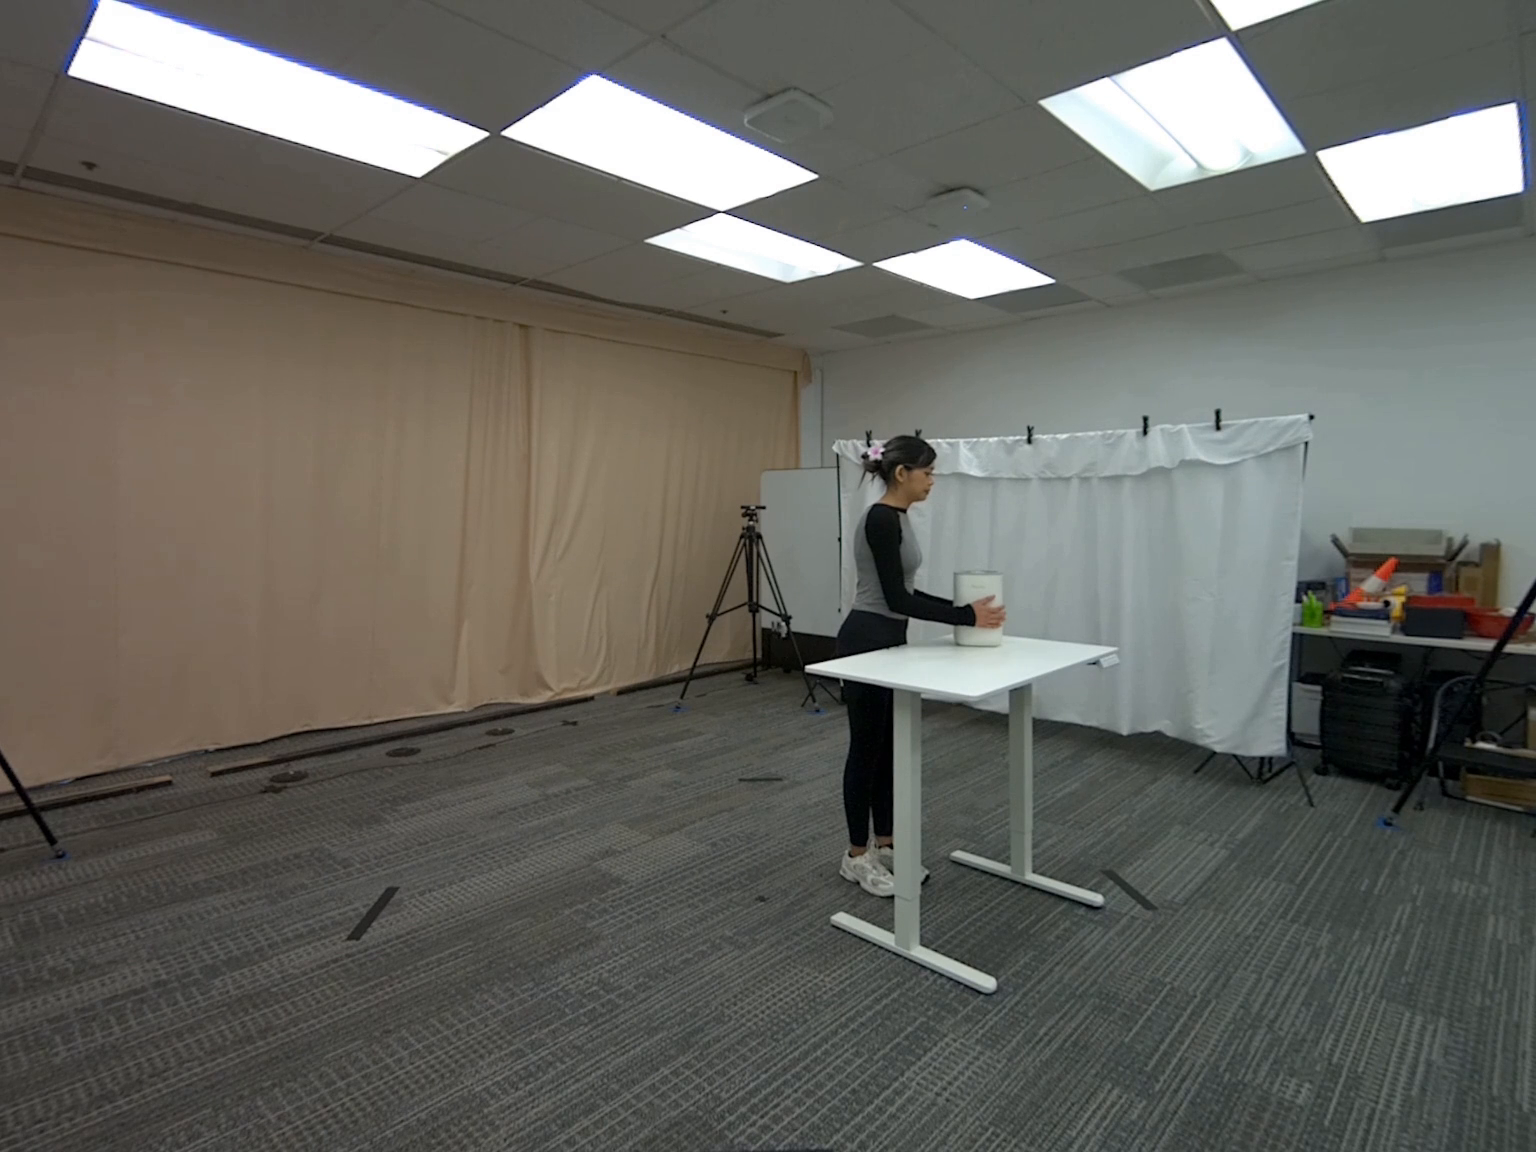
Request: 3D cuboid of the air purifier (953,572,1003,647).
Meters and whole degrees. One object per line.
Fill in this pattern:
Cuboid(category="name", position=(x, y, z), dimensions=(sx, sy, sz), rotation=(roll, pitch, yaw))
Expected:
Cuboid(category="air purifier", position=(0.780, 0.122, 3.067), dimensions=(0.173, 0.265, 0.170), rotation=(-1, 4, 11))
